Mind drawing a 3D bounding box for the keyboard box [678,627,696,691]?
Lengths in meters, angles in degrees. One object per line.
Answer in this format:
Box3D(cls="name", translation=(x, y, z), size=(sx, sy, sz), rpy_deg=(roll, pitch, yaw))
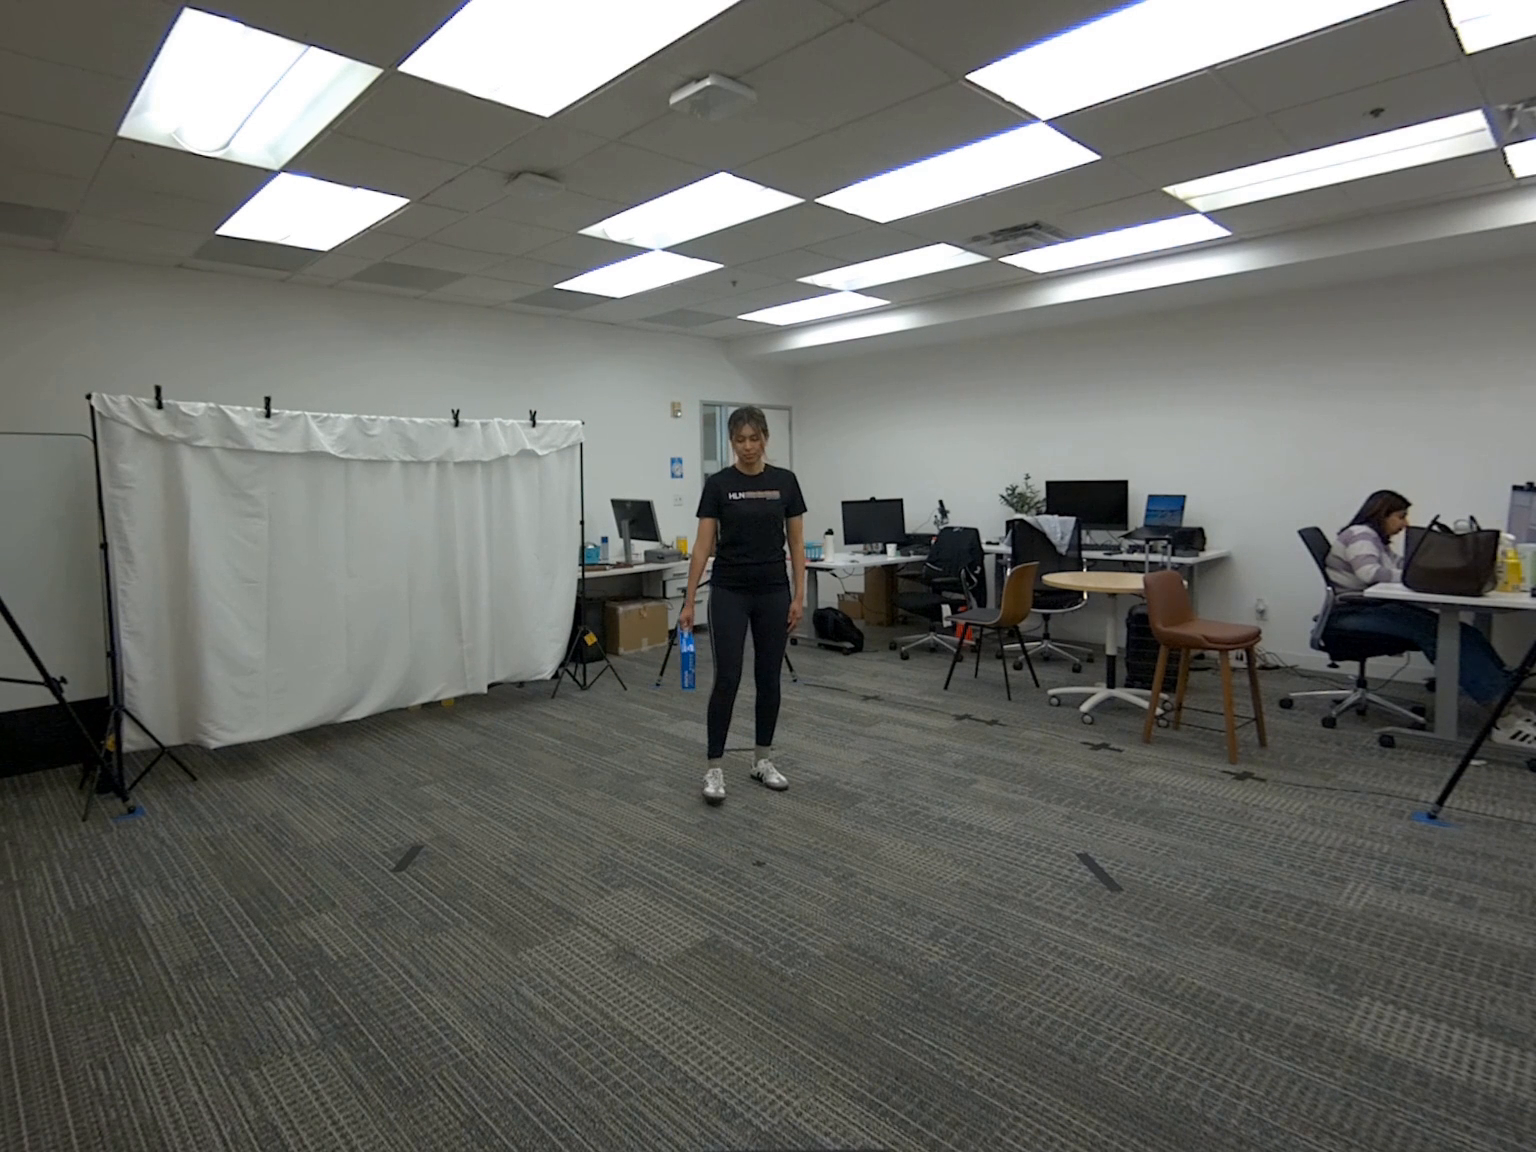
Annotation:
Box3D(cls="keyboard box", translation=(-0.369, 0.342, 3.839), size=(0.059, 0.174, 0.445), rpy_deg=(0, 16, -8))
